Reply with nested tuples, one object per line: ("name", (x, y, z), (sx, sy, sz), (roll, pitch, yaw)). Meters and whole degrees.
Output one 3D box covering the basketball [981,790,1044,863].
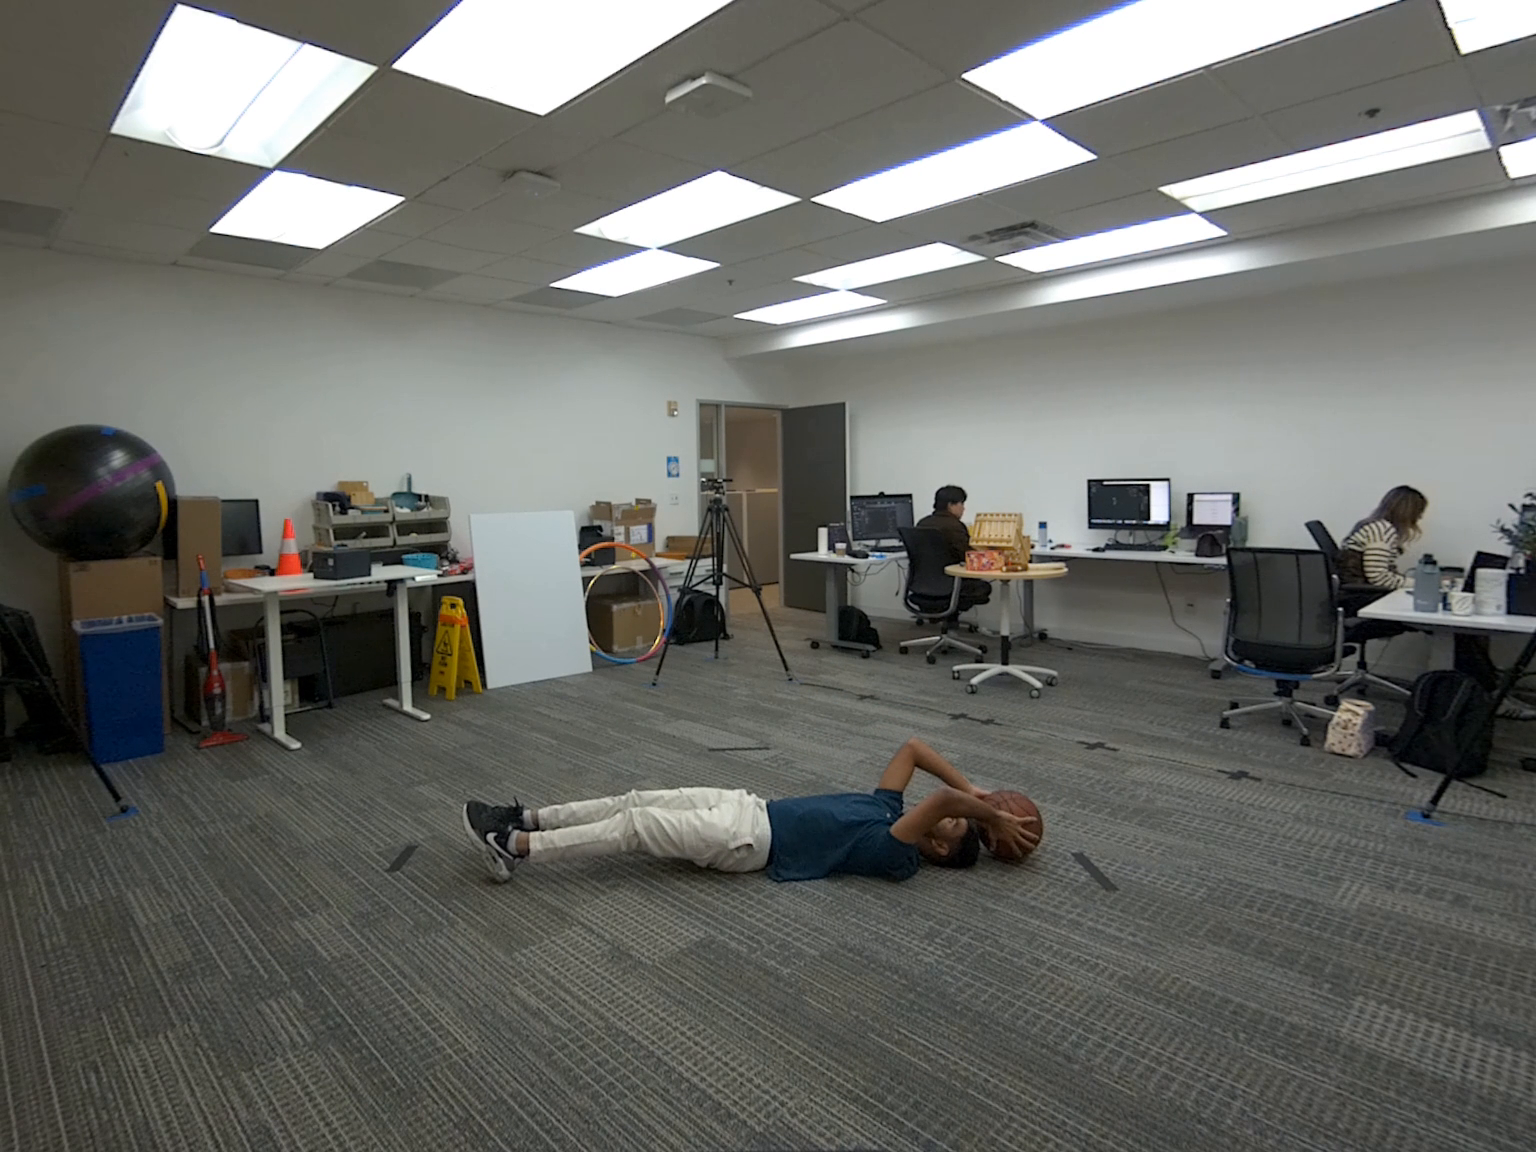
("basketball", (0.887, 0.905, 3.129), (0.236, 0.235, 0.237), (-1, 5, -2))
